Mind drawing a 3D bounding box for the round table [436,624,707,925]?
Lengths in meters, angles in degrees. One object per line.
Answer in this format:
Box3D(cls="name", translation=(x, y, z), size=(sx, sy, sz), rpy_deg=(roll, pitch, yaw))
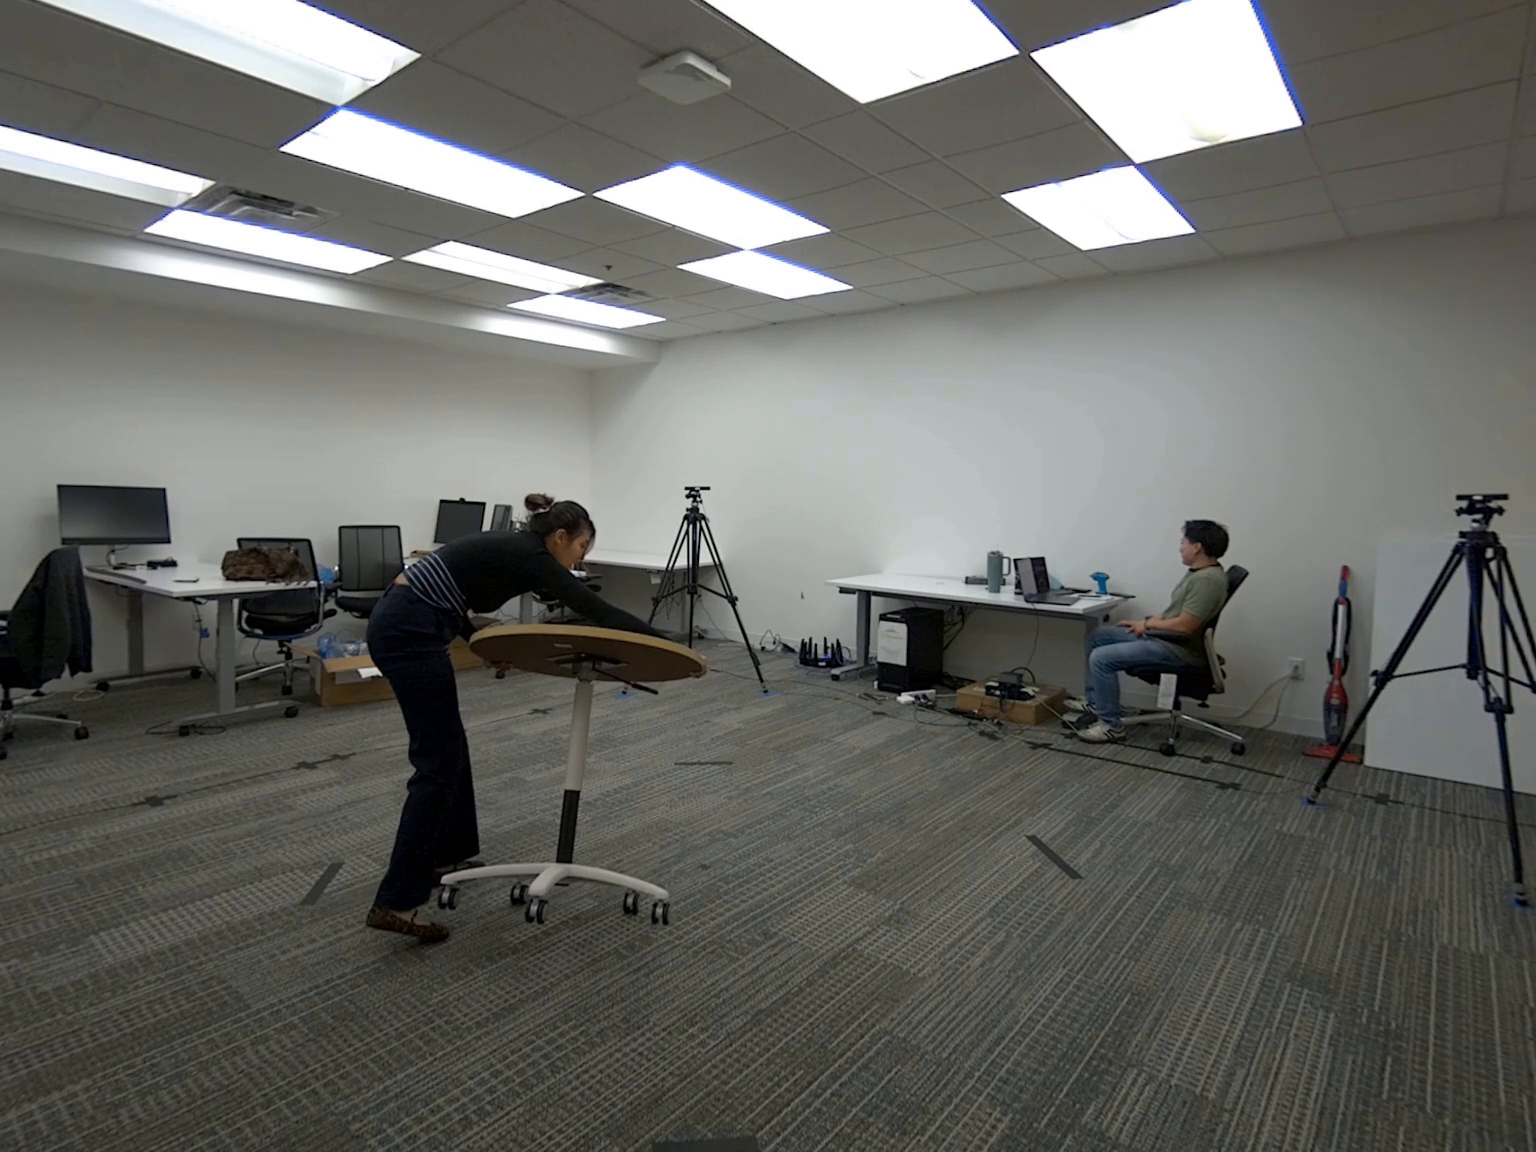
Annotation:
Box3D(cls="round table", translation=(-0.619, 0.635, 2.671), size=(0.764, 0.807, 0.751), rpy_deg=(3, -18, -1))
